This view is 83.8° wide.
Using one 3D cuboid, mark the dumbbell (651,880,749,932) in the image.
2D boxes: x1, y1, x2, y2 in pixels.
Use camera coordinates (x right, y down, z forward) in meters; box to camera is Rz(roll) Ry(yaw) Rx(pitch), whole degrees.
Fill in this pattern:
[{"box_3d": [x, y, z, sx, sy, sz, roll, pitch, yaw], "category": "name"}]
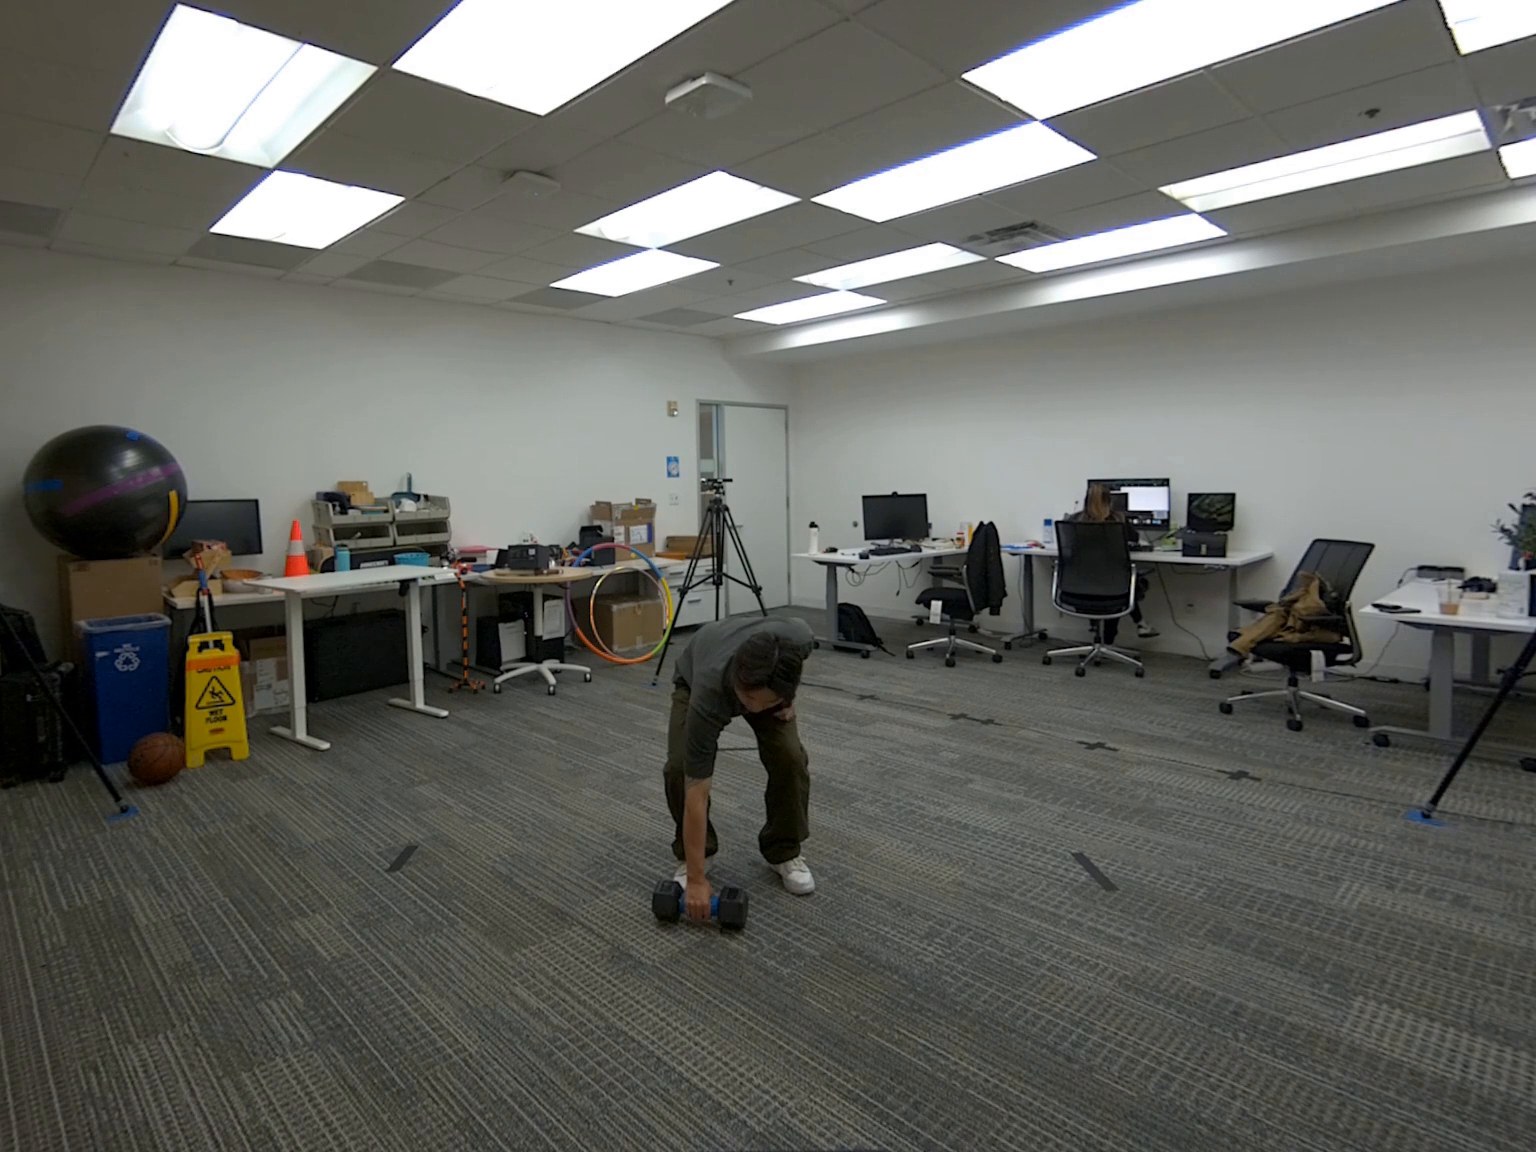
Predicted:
[{"box_3d": [-0.204, 1.023, 2.683, 0.297, 0.111, 0.119, -1, -42, 11], "category": "dumbbell"}]
